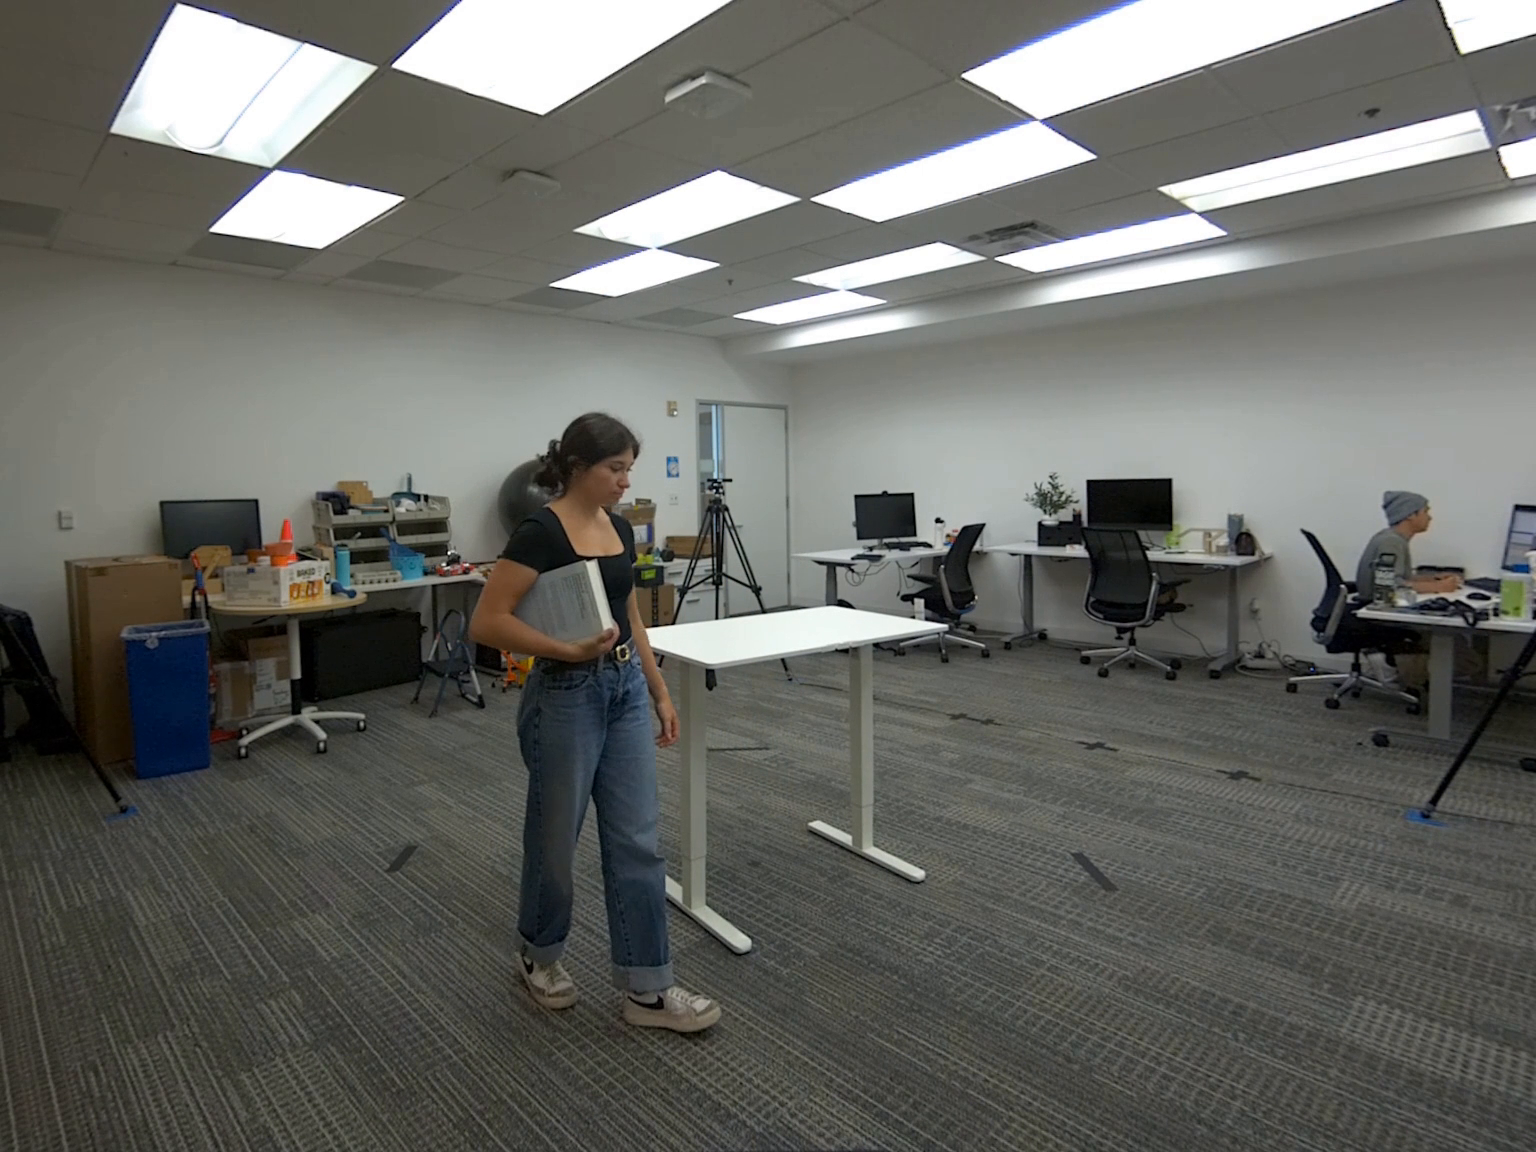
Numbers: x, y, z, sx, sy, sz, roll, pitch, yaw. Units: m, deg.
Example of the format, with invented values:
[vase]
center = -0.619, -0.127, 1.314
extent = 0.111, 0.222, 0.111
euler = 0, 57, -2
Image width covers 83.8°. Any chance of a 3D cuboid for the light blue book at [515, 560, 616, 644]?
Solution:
[light blue book]
center = -0.519, 0.084, 2.088
extent = 0.264, 0.192, 0.058
euler = -16, -5, 18
